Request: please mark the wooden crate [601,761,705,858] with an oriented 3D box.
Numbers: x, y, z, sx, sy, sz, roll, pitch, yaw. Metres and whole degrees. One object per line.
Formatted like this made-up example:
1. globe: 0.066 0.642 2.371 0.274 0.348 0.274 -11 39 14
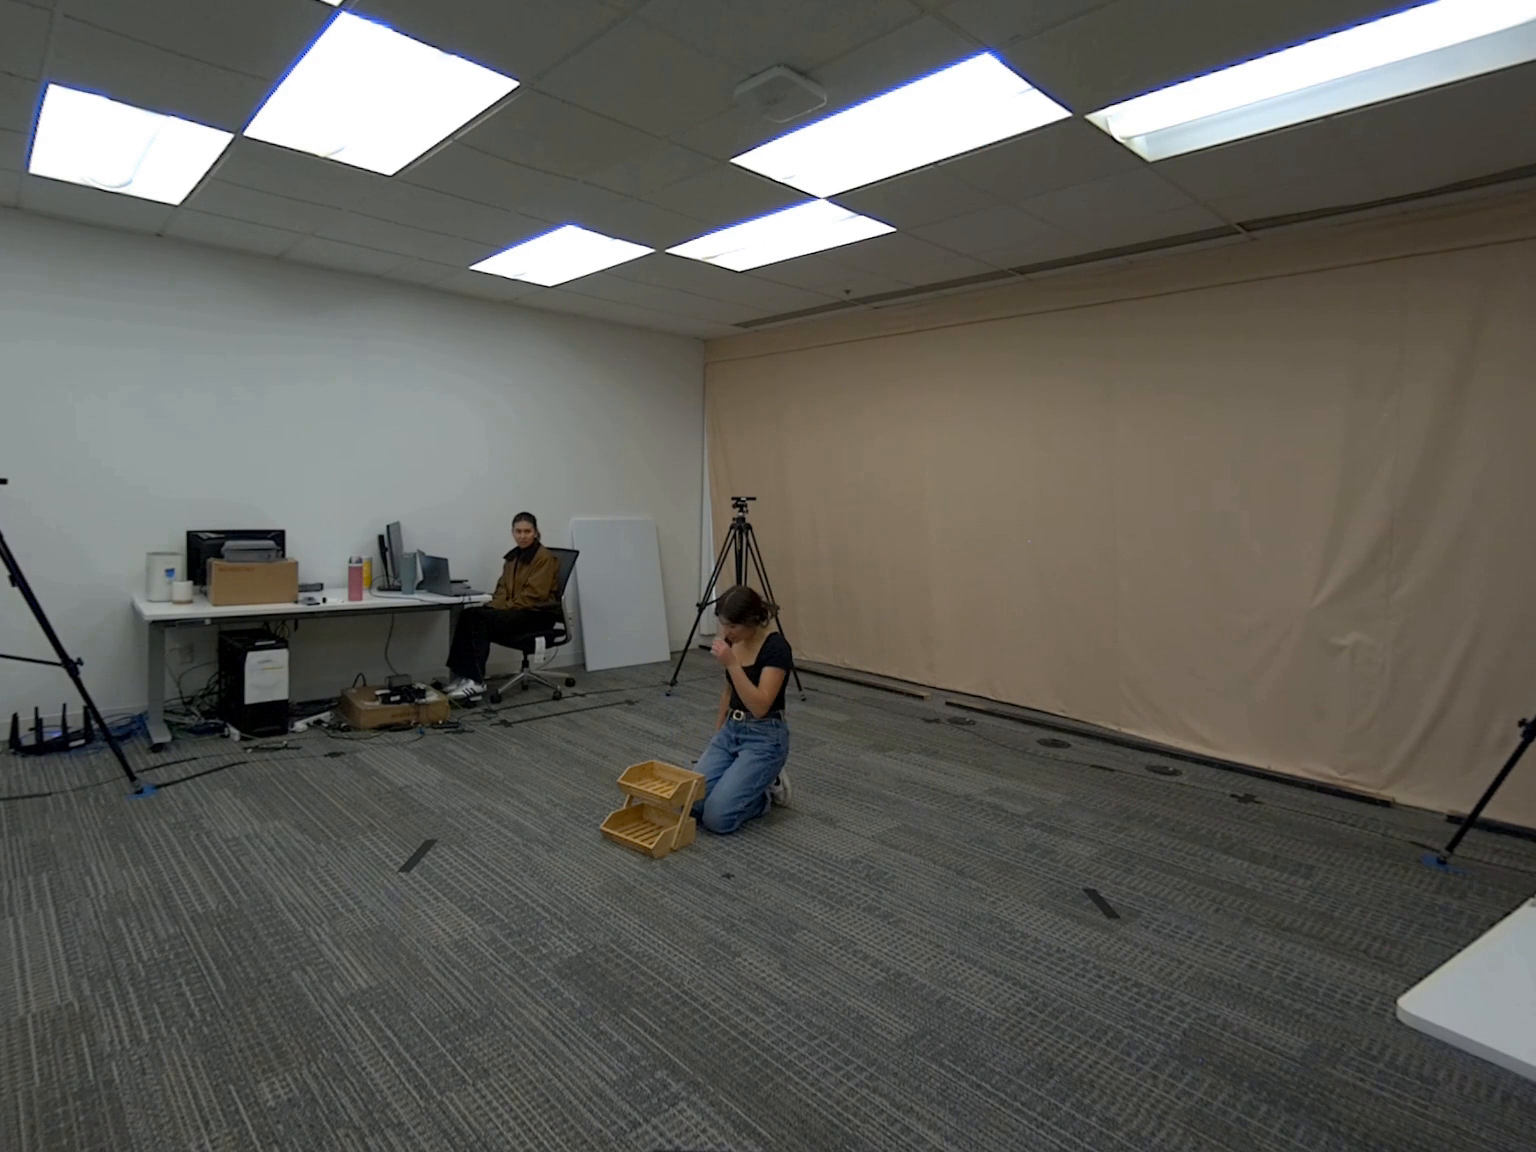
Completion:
1. wooden crate: -0.481 0.939 3.423 0.332 0.273 0.295 5 4 39
